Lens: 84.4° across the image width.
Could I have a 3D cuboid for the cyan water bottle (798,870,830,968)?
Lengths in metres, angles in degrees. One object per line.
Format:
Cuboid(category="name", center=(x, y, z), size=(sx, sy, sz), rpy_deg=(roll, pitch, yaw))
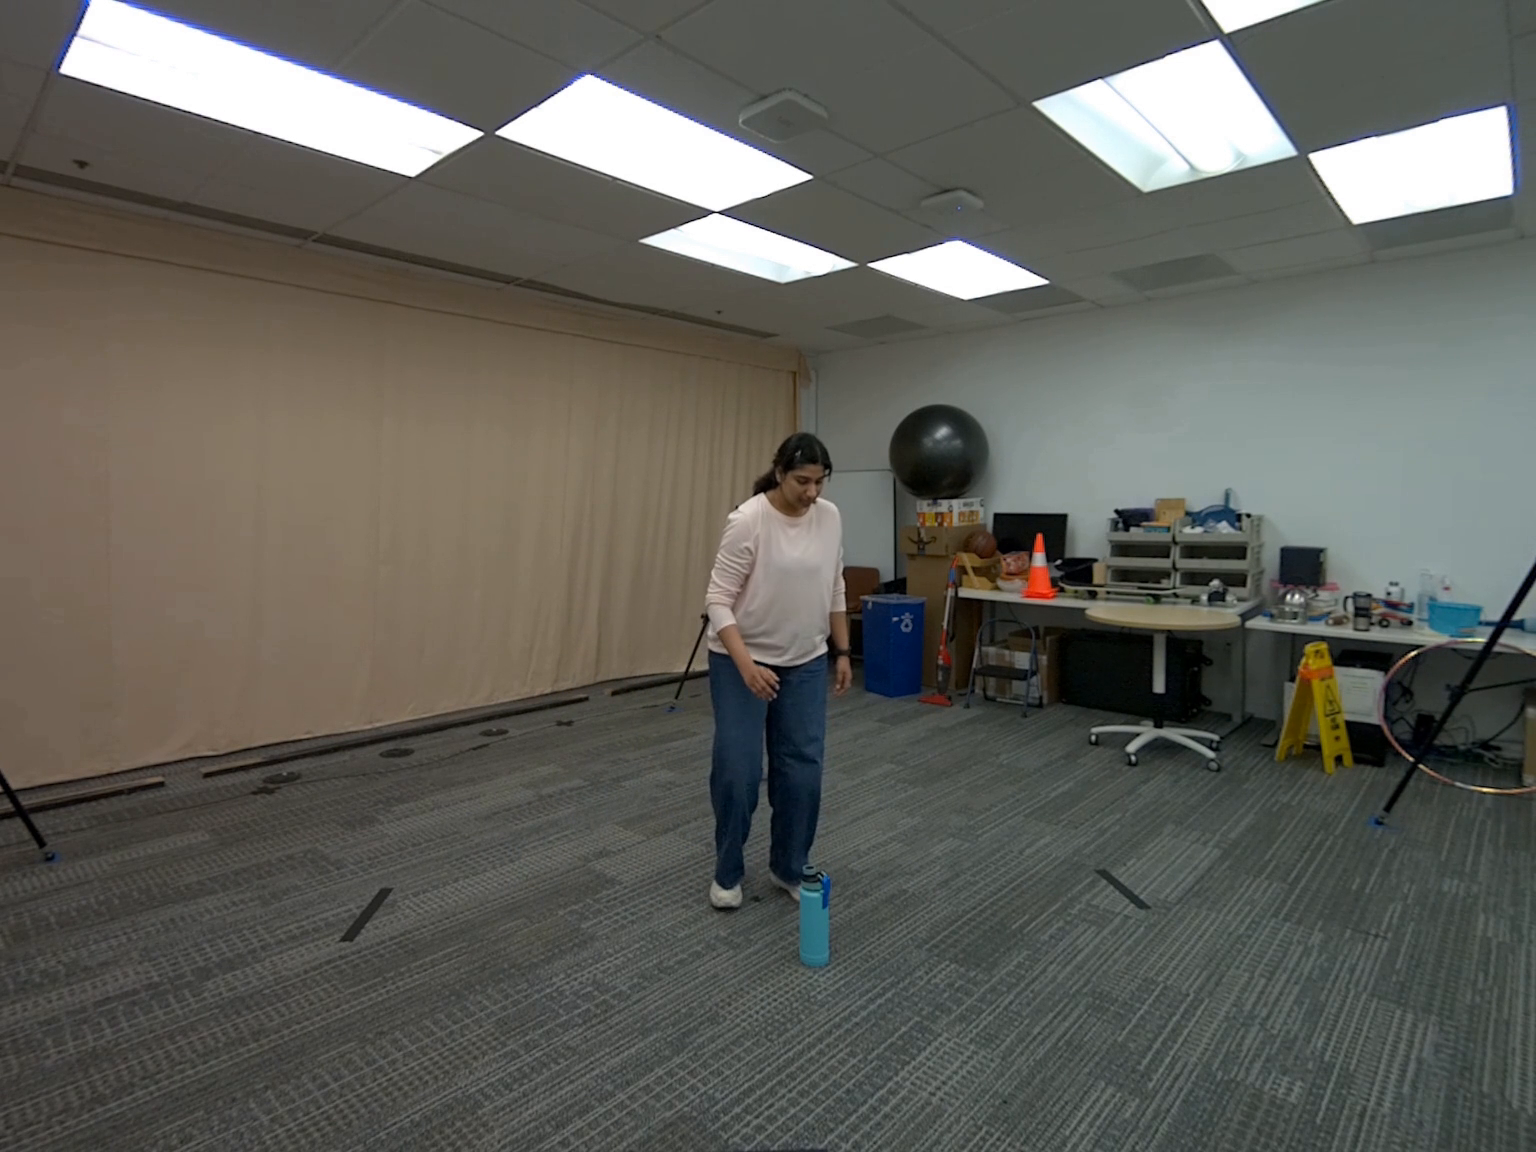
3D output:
Cuboid(category="cyan water bottle", center=(0.144, 1.033, 2.581), size=(0.092, 0.283, 0.092), rpy_deg=(0, 2, -2))
